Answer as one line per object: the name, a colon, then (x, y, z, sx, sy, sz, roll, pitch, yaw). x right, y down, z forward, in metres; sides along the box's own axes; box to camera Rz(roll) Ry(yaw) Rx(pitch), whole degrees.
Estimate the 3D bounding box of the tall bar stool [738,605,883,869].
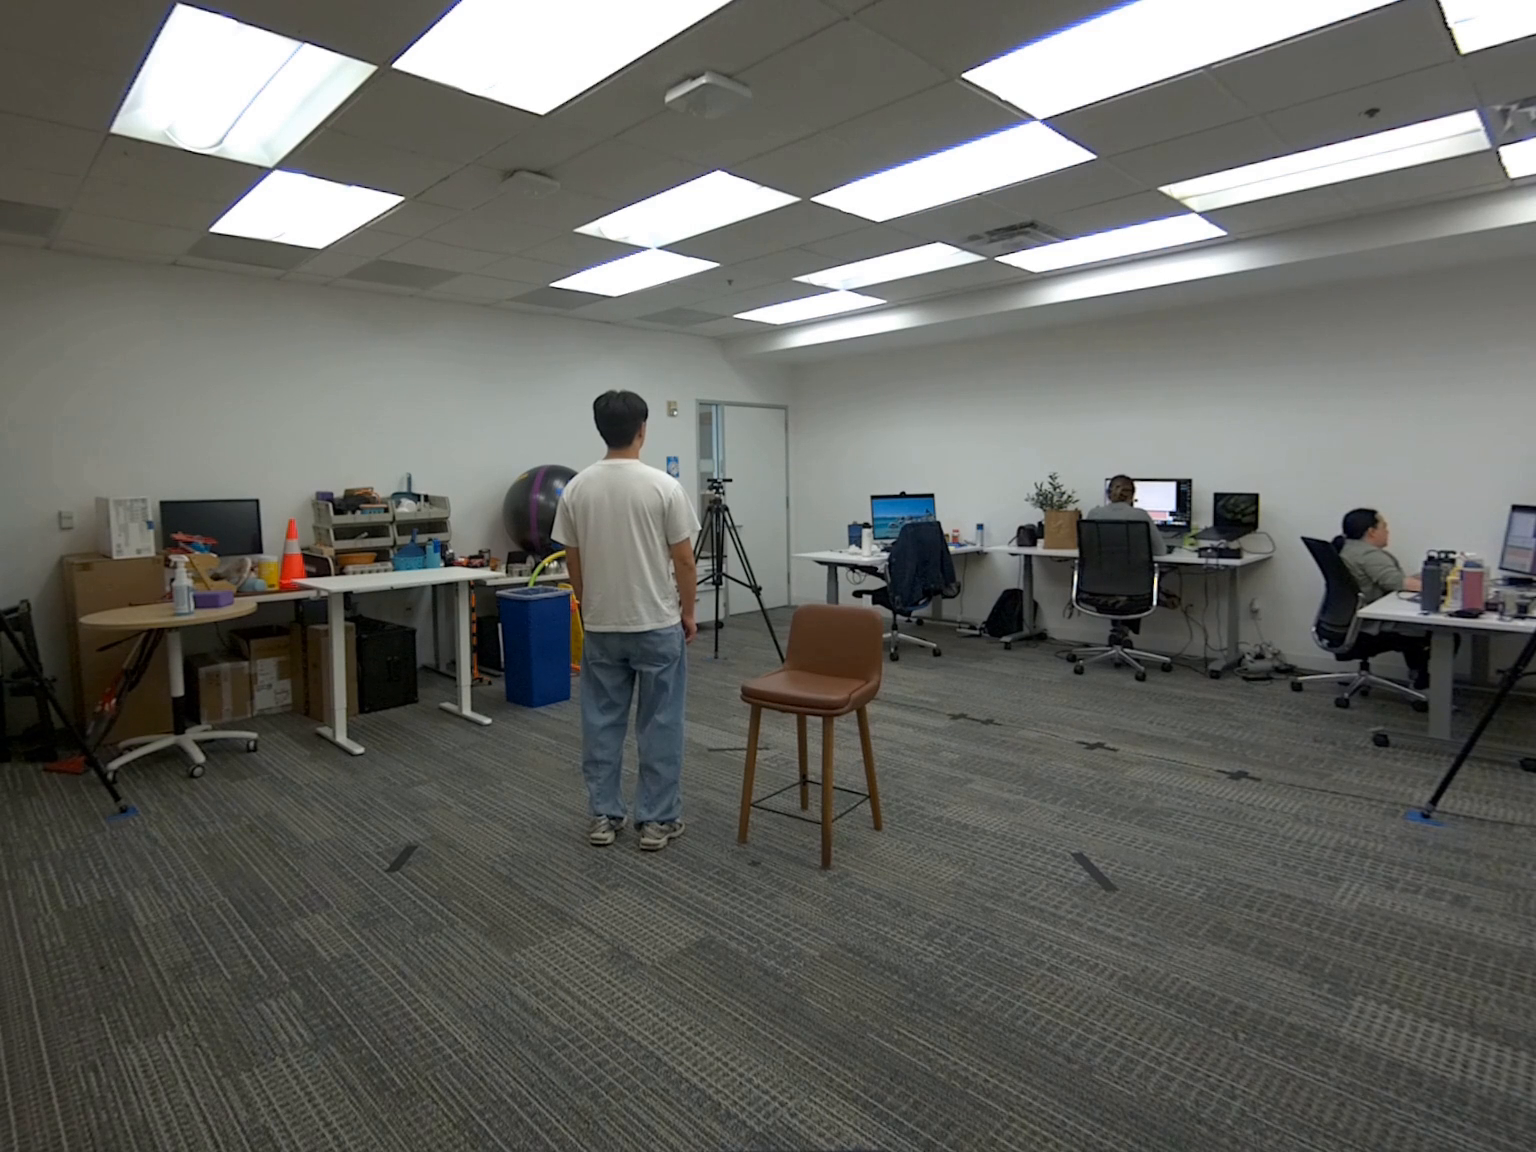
tall bar stool: (0.175, 0.580, 3.313, 0.470, 0.888, 0.455, 3, 3, 37)
